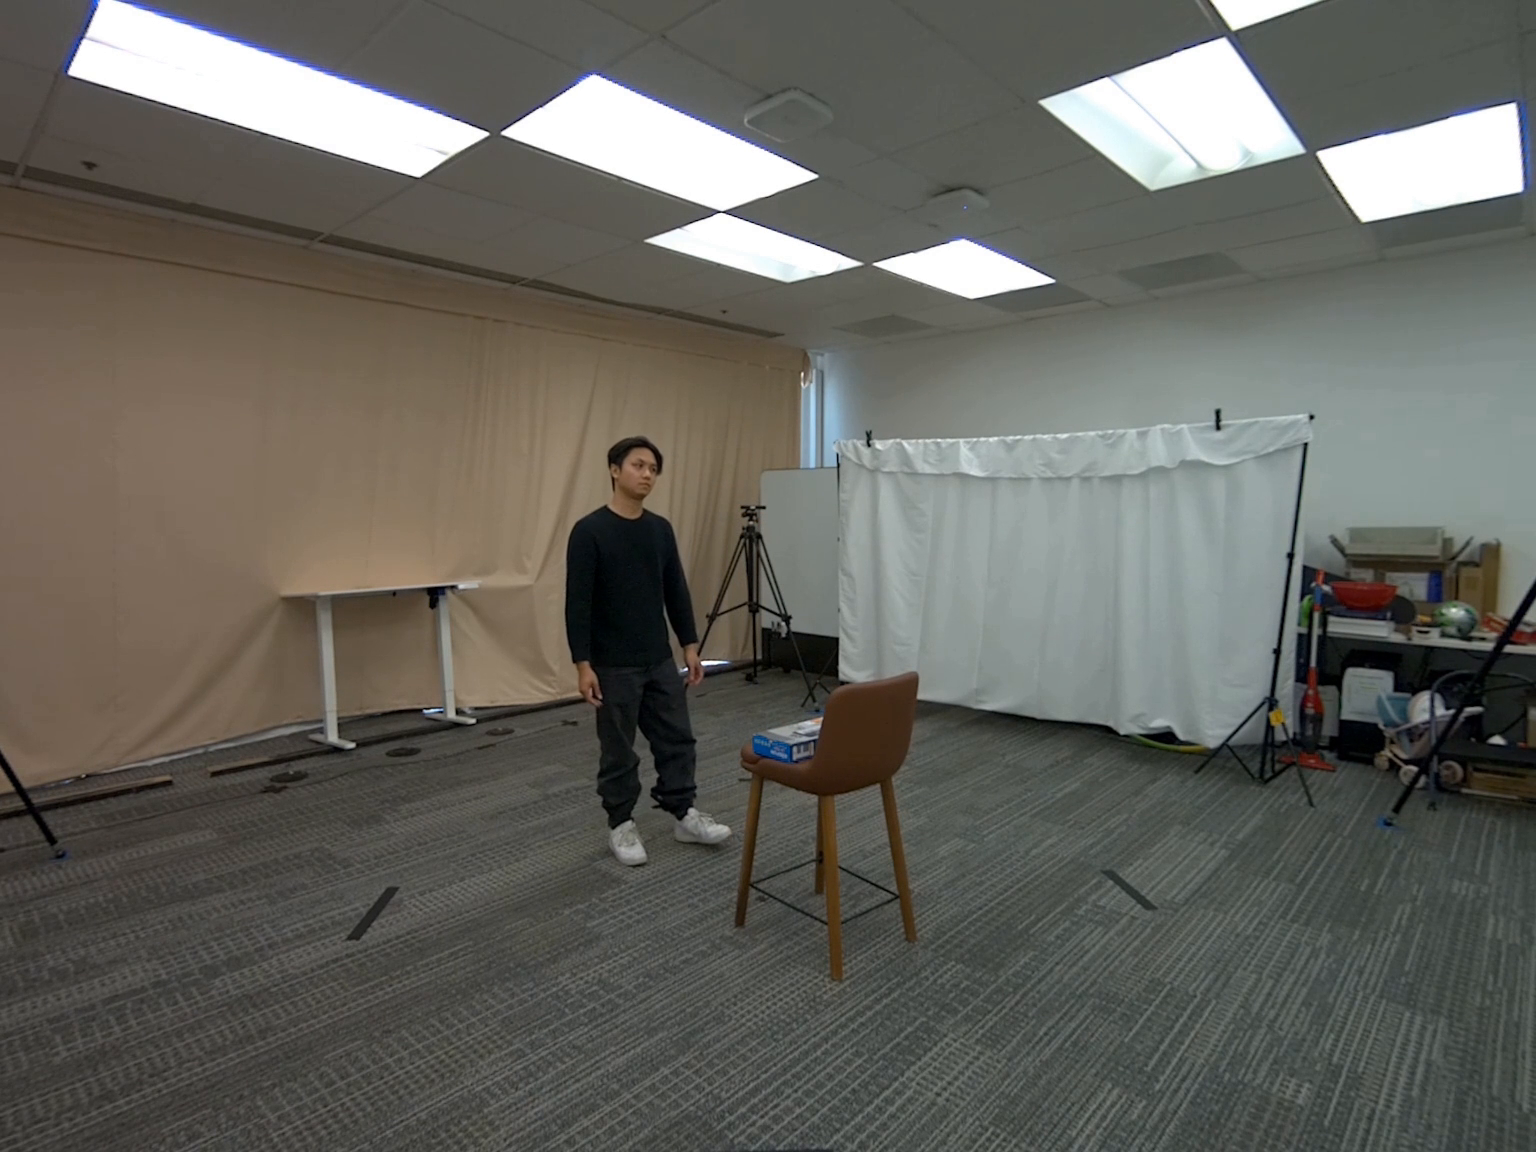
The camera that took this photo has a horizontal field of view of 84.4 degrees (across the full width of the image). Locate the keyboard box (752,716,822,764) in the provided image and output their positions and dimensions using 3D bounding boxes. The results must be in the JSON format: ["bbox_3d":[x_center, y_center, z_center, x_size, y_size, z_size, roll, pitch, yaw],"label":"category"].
[{"bbox_3d":[0.171,0.518,2.736,0.424,0.059,0.182,-5,5,-41],"label":"keyboard box"}]
